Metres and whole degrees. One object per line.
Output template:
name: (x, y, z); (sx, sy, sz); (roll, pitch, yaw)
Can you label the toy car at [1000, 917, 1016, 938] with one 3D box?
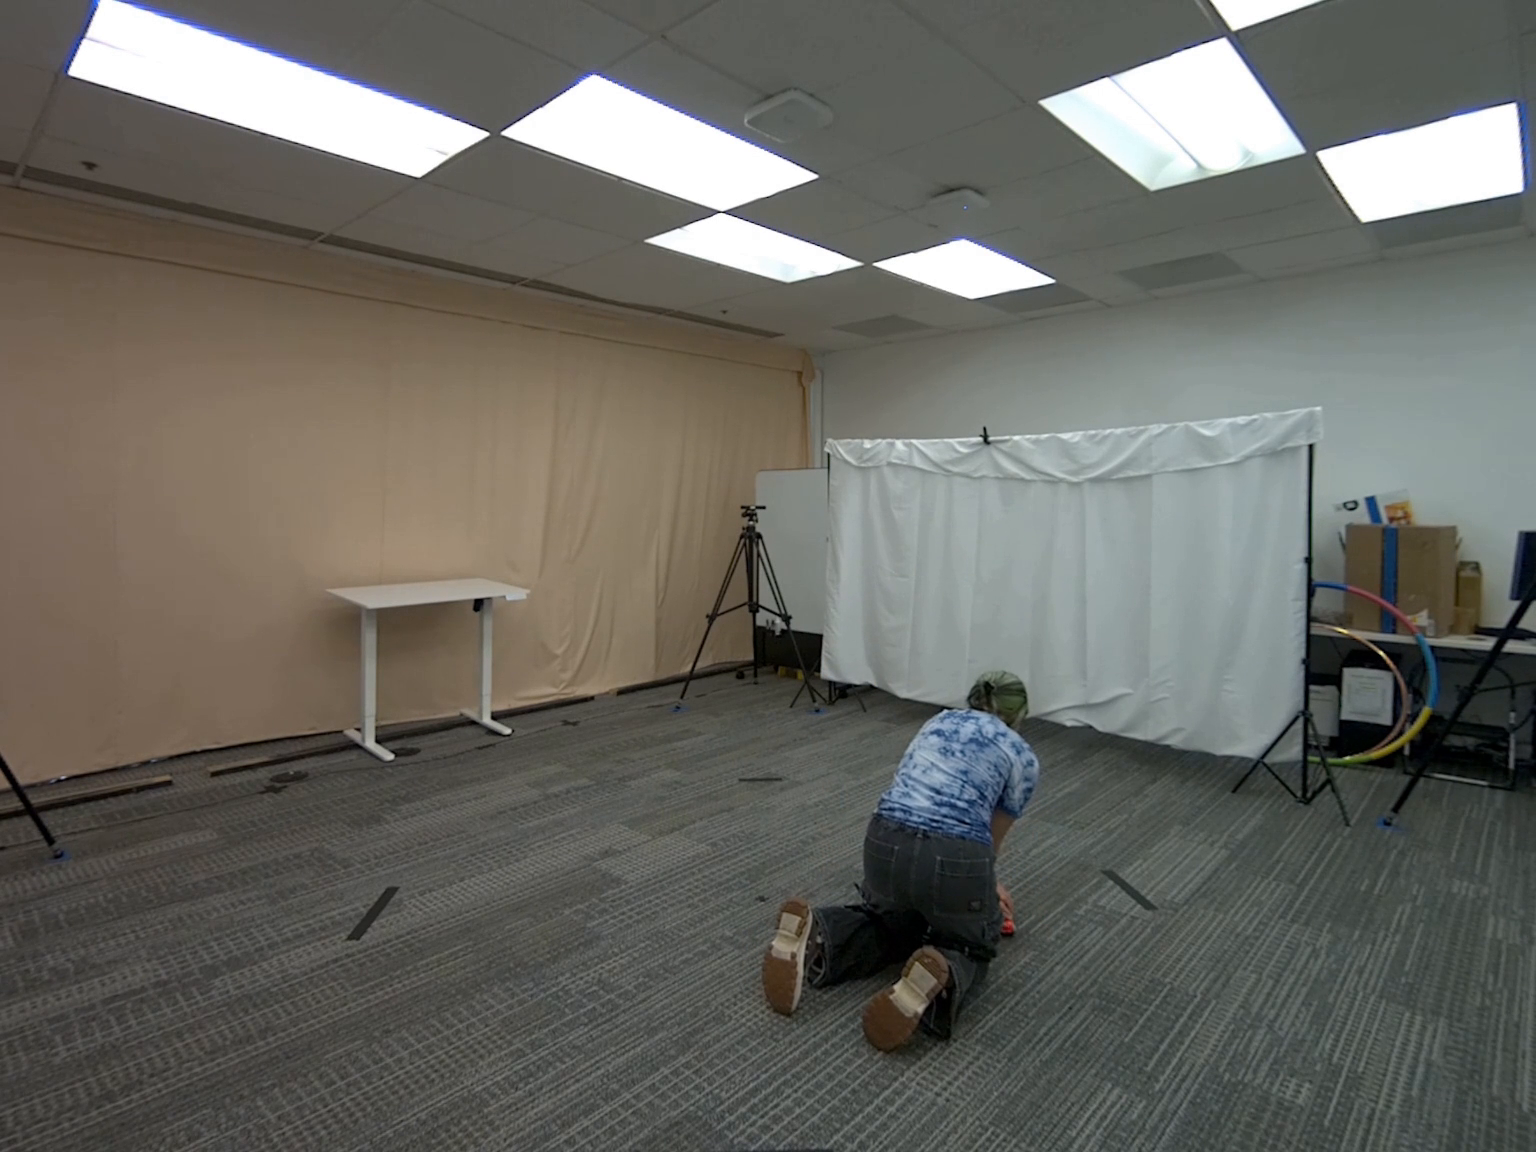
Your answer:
toy car: (0.767, 1.123, 2.833); (0.132, 0.082, 0.254); (3, 19, 8)
